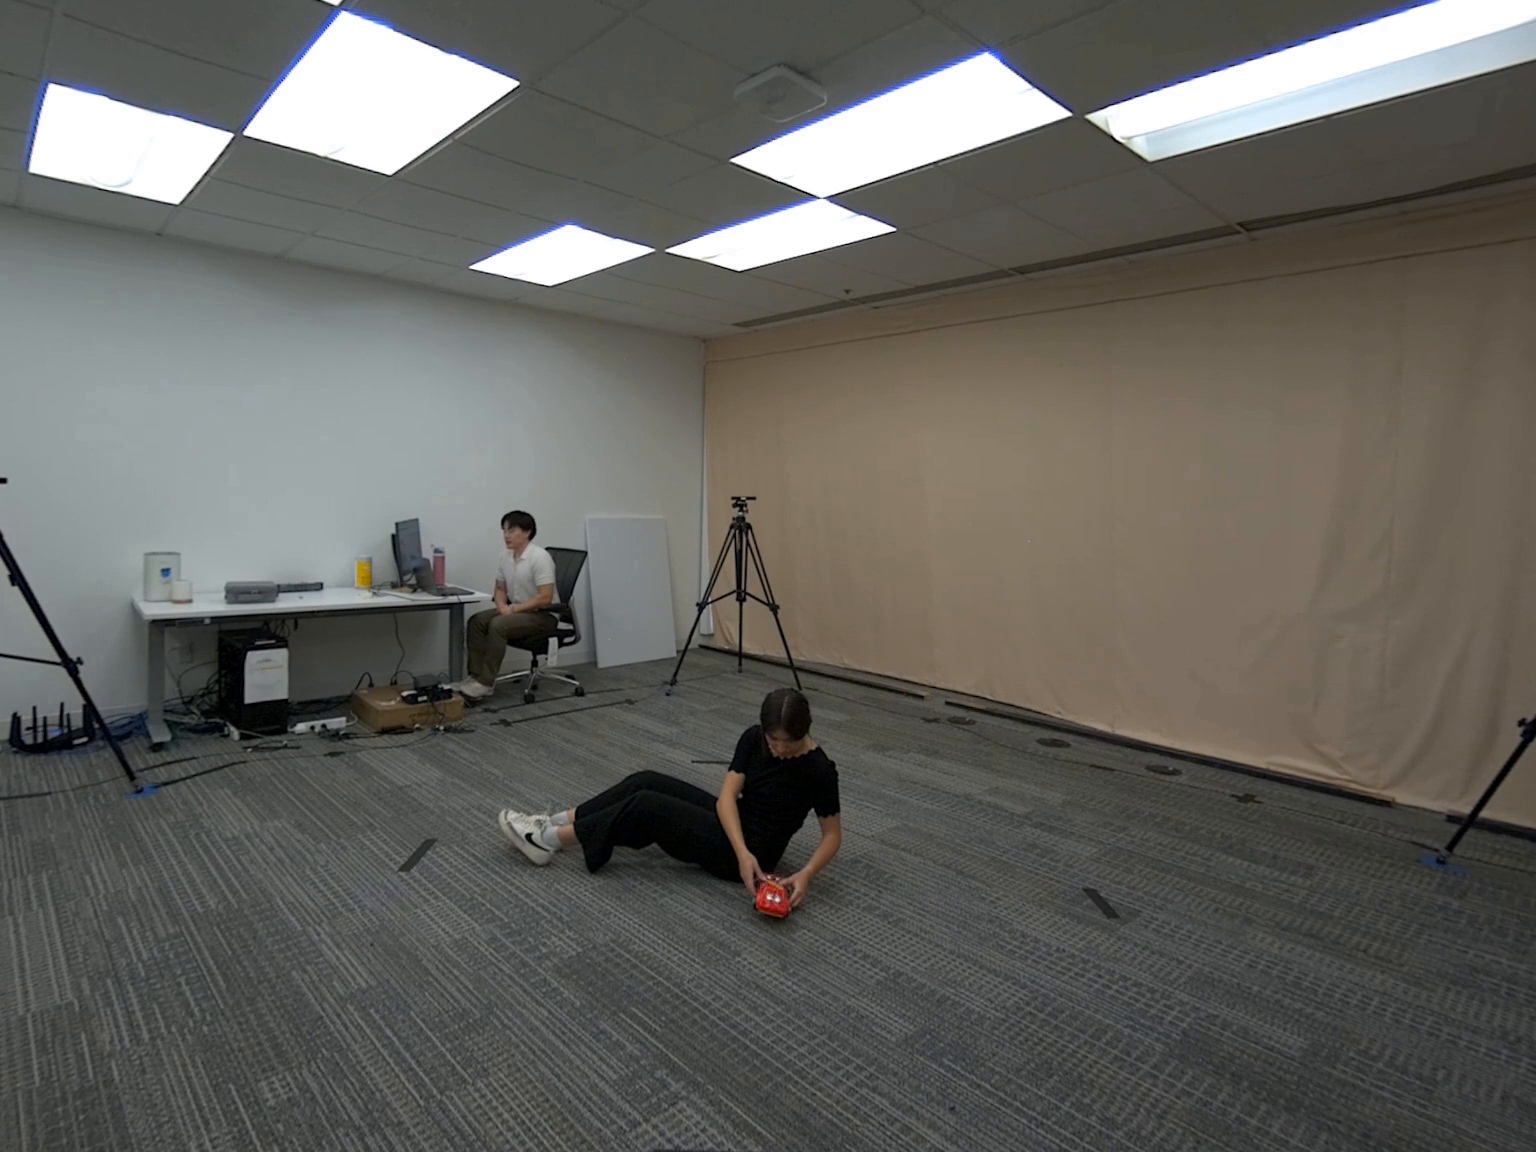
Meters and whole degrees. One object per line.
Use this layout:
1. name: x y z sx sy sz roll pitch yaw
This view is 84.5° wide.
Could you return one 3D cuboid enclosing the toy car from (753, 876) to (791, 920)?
1. toy car: 0.000 1.073 2.826 0.130 0.083 0.253 14 -6 0
